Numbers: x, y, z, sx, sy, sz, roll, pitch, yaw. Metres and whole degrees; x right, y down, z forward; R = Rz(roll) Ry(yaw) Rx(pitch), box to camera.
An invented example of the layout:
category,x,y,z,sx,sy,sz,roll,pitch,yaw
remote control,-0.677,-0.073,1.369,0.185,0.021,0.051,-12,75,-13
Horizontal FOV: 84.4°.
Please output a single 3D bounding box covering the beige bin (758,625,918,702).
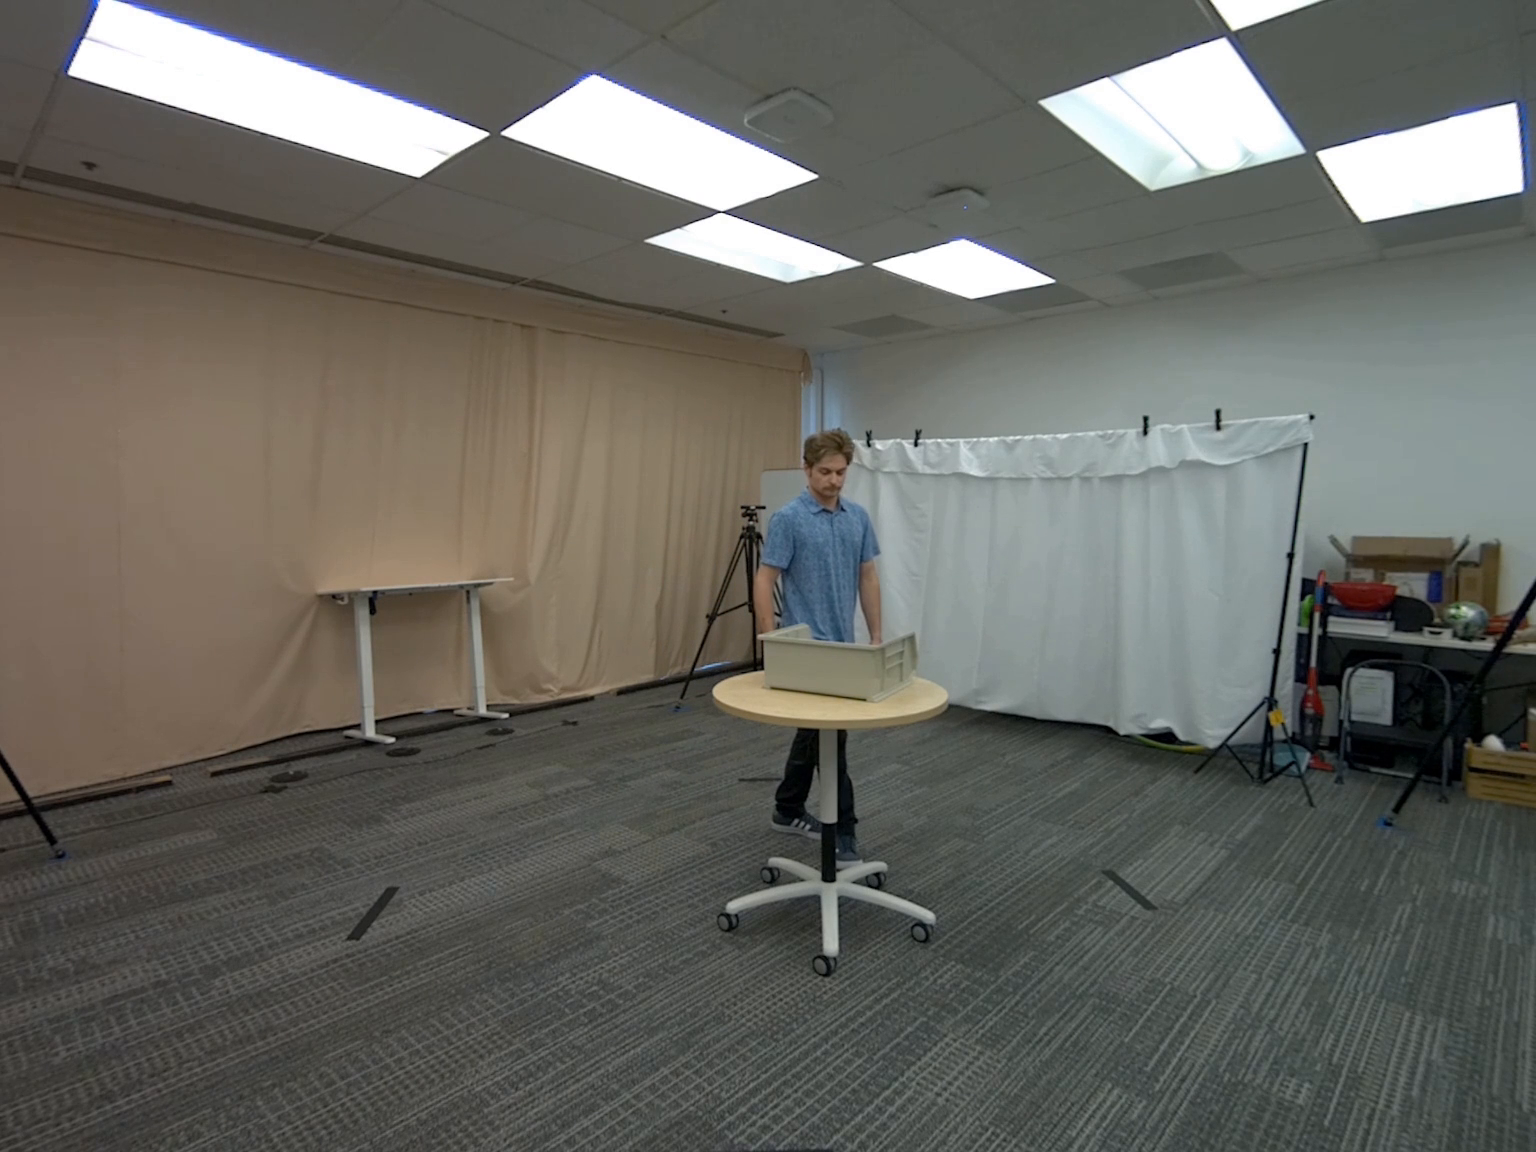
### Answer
category,x,y,z,sx,sy,sz,roll,pitch,yaw
beige bin,0.244,0.283,2.855,0.435,0.188,0.367,3,7,32
